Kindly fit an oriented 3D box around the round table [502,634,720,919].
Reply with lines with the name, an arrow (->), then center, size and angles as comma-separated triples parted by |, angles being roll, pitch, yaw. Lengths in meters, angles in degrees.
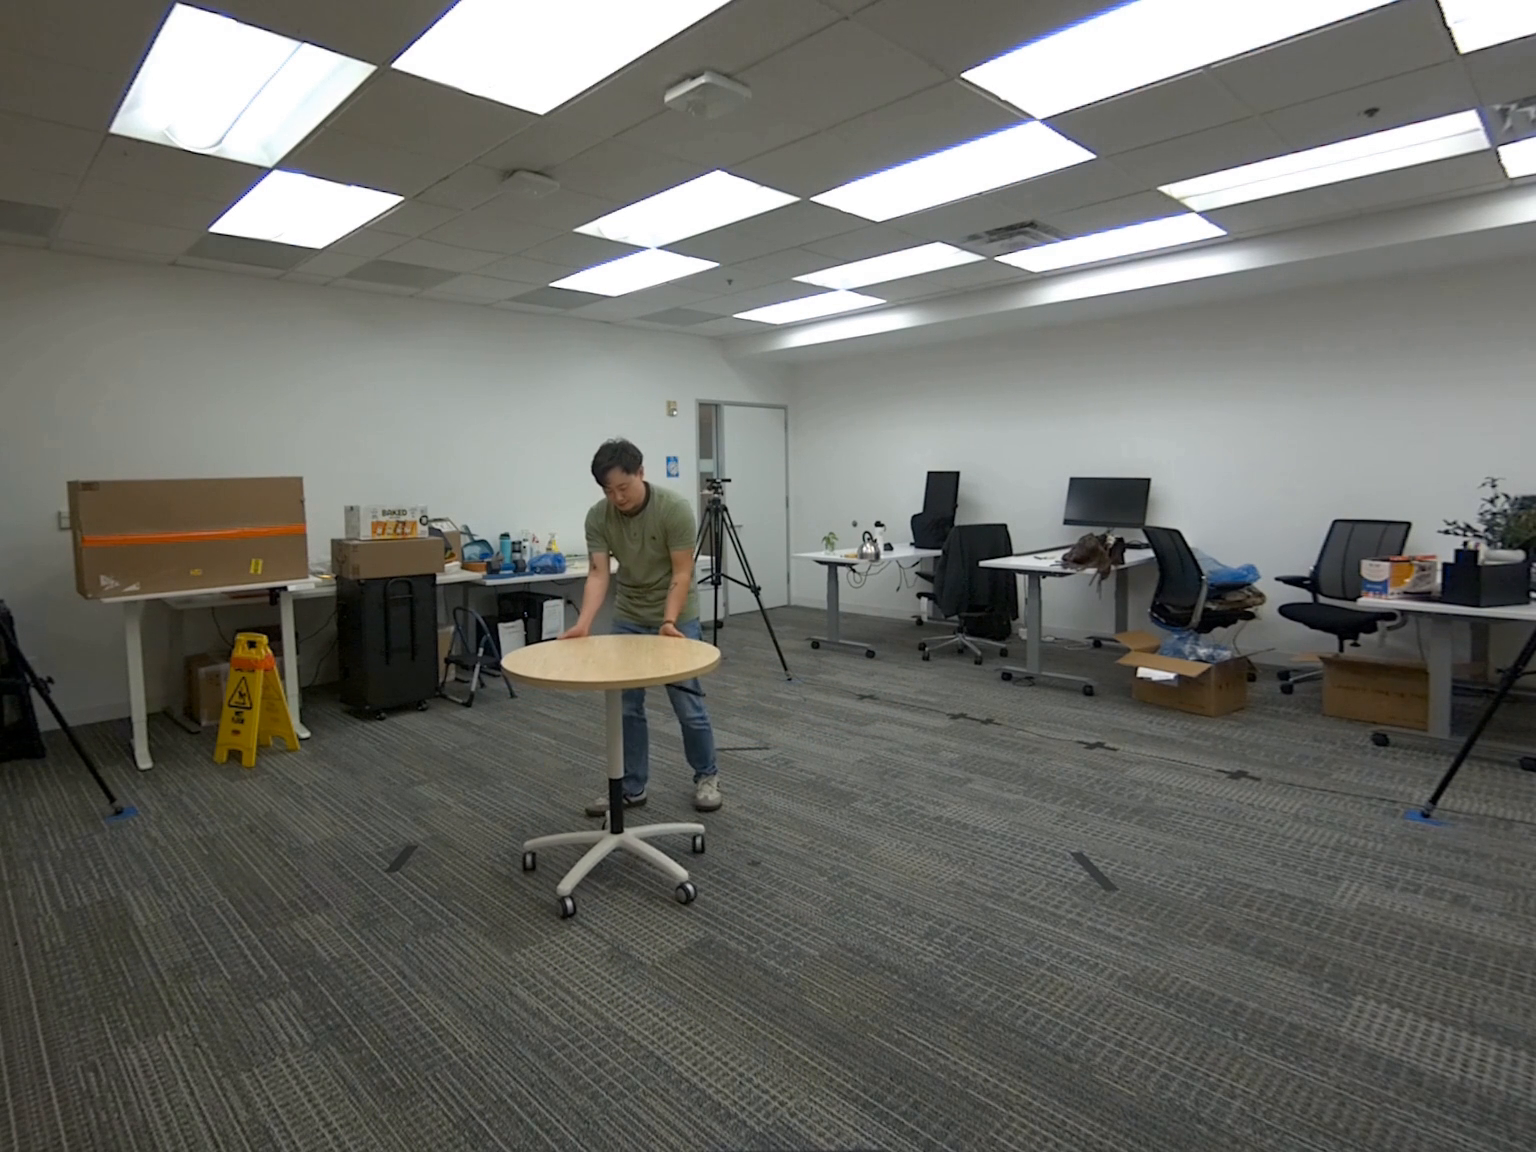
round table -> -0.547, 0.675, 3.039 | 0.763, 0.791, 0.768 | -1, 5, -2
